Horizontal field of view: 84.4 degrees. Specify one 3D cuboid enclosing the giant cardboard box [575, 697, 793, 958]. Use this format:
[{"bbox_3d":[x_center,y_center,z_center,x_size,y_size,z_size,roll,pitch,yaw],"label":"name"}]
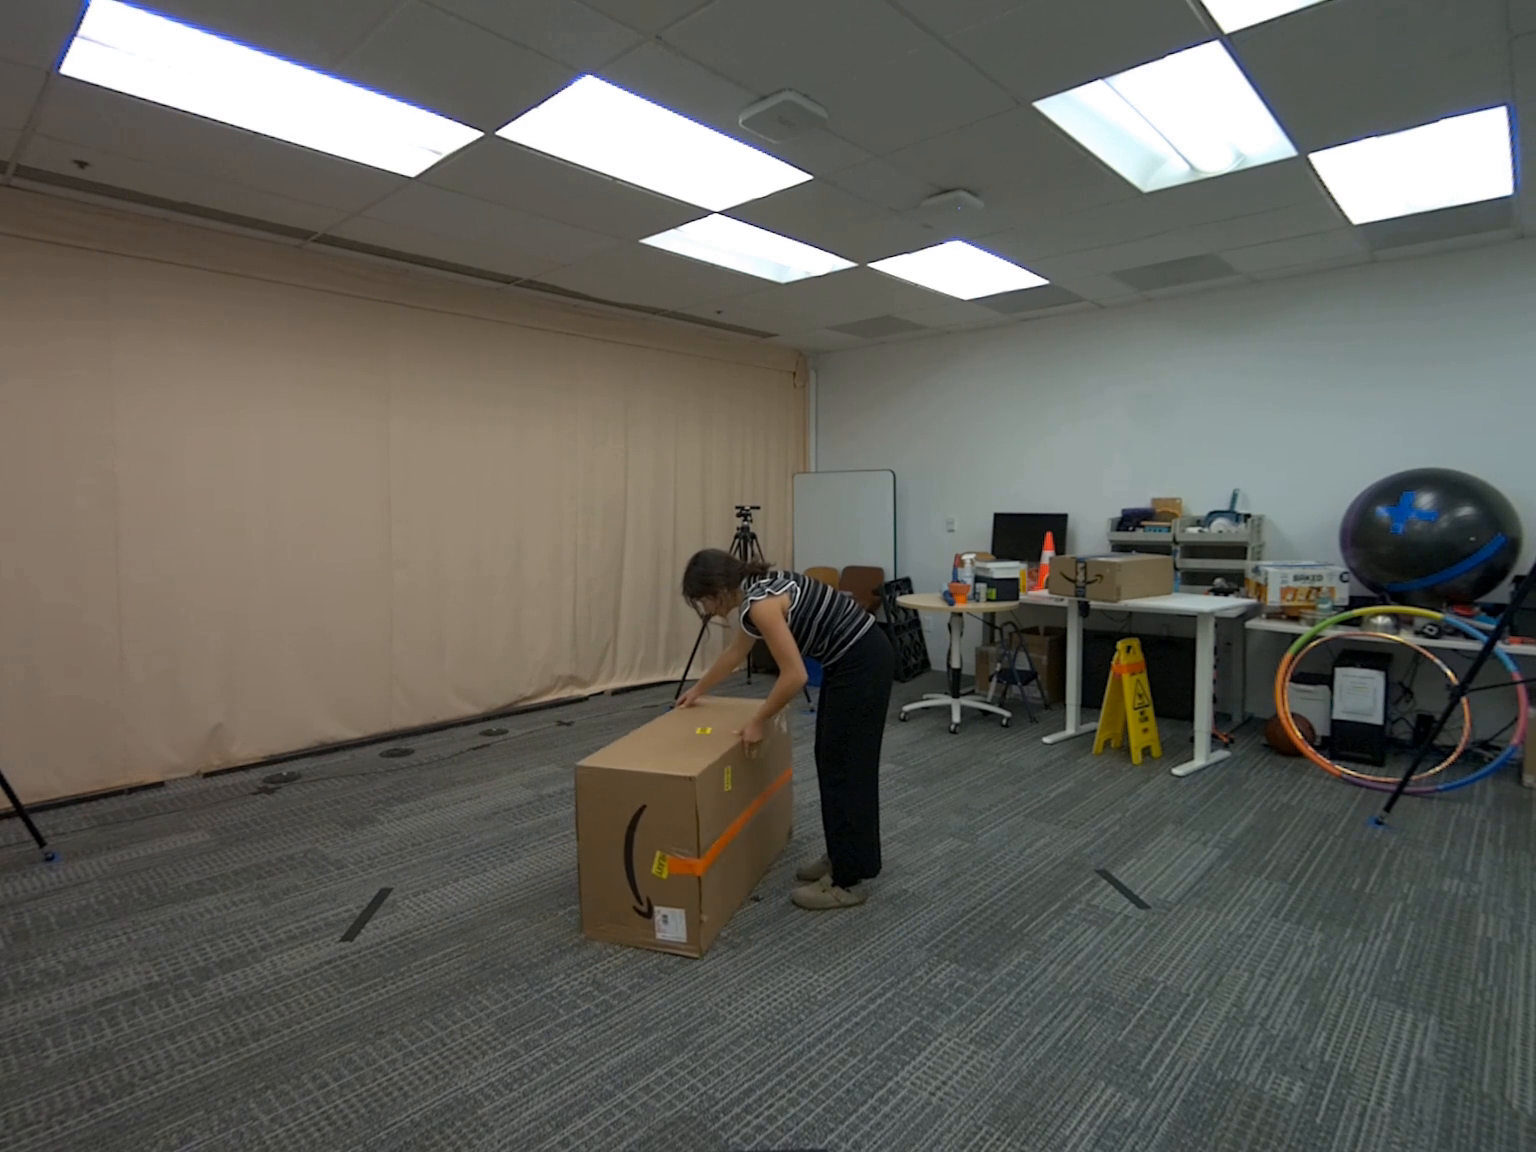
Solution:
[{"bbox_3d":[-0.261,0.843,3.112,0.435,0.576,1.007,1,5,18],"label":"giant cardboard box"}]
